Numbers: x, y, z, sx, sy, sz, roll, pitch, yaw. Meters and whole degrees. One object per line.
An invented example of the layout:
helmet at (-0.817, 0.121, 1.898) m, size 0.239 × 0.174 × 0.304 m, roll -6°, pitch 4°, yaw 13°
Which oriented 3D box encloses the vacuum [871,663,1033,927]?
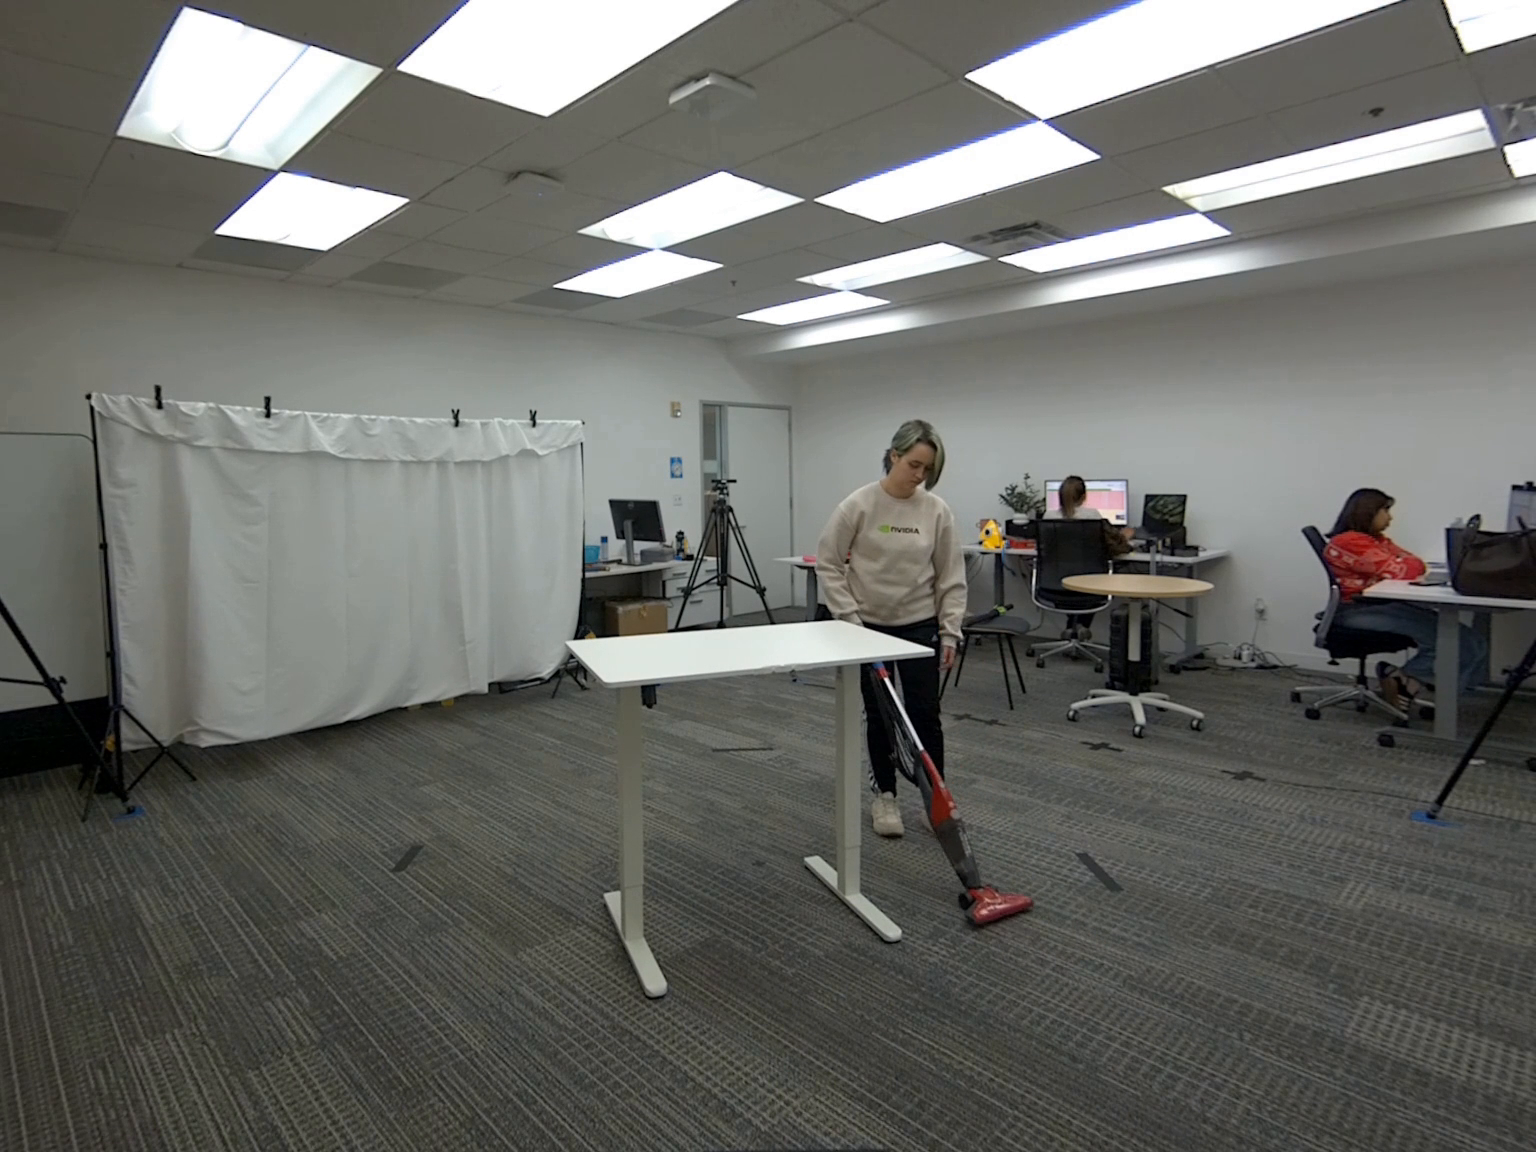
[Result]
vacuum at (0.538, 0.662, 3.019) m, size 0.246 × 1.086 × 0.143 m, roll 2°, pitch -41°, yaw -32°
